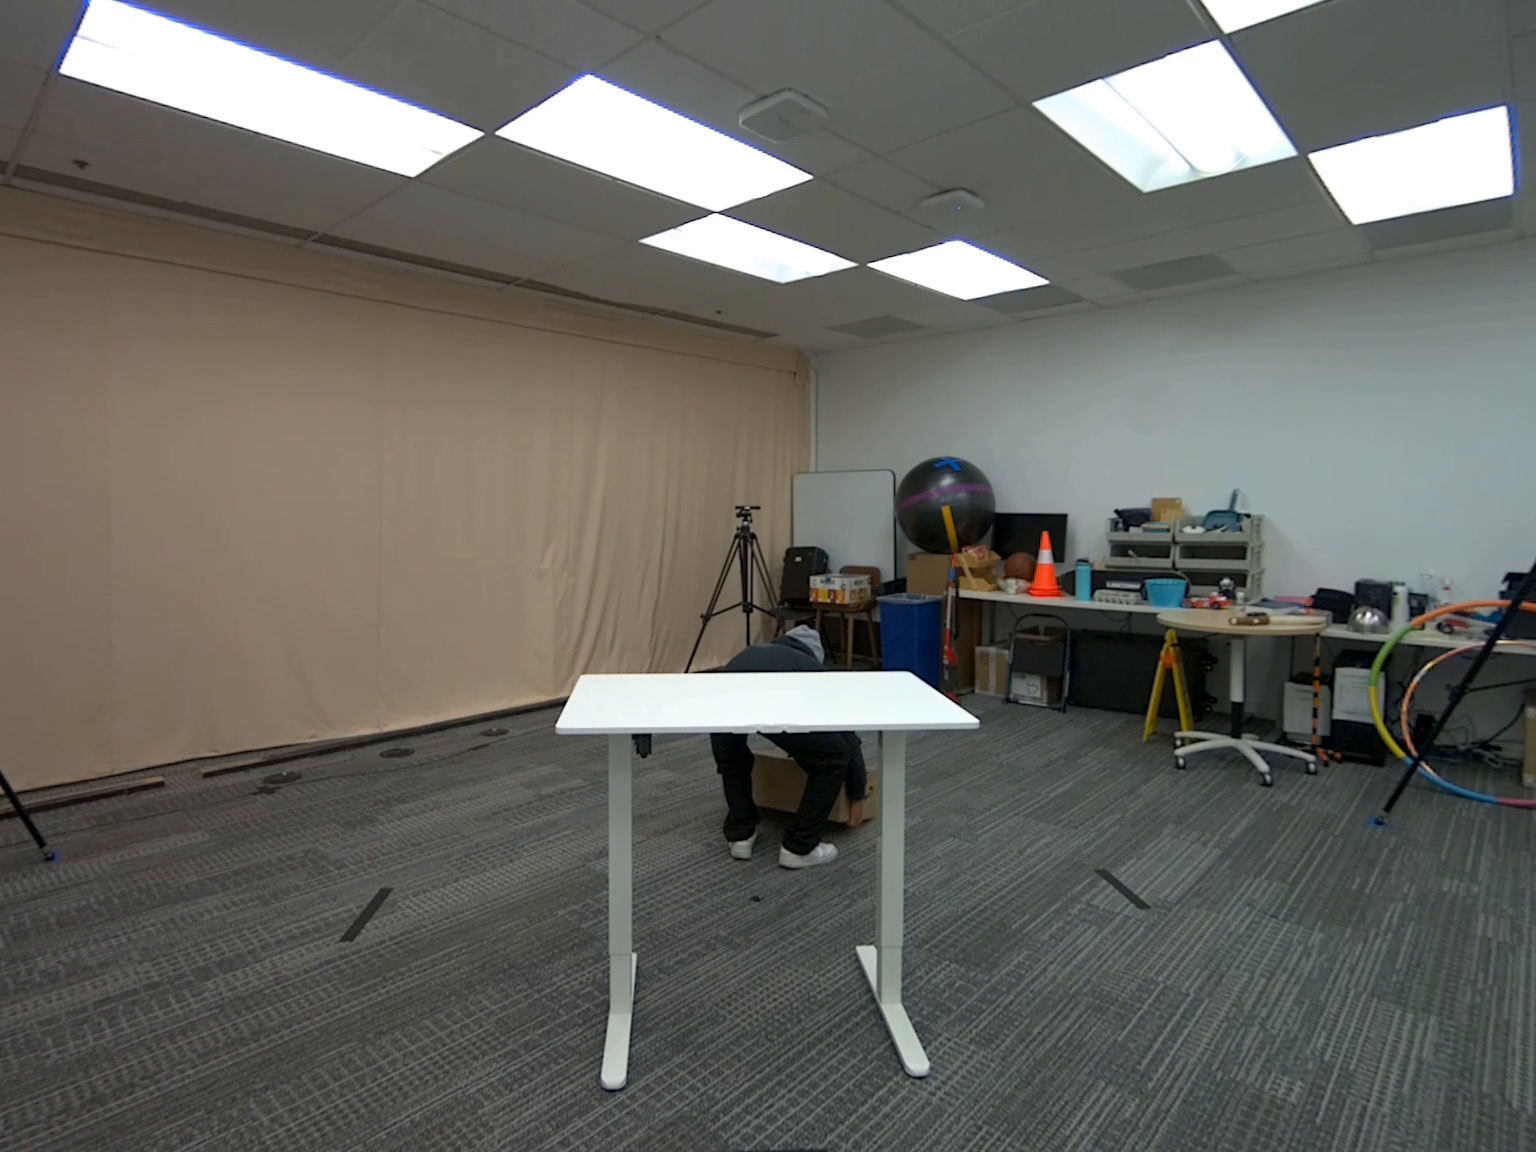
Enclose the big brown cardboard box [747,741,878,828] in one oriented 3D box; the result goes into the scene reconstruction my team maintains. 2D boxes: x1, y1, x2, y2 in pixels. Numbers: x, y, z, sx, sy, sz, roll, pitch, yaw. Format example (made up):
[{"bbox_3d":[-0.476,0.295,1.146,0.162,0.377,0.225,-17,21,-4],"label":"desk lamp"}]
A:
[{"bbox_3d":[0.164,0.933,3.772,0.606,0.234,0.404,1,-11,30],"label":"big brown cardboard box"}]
